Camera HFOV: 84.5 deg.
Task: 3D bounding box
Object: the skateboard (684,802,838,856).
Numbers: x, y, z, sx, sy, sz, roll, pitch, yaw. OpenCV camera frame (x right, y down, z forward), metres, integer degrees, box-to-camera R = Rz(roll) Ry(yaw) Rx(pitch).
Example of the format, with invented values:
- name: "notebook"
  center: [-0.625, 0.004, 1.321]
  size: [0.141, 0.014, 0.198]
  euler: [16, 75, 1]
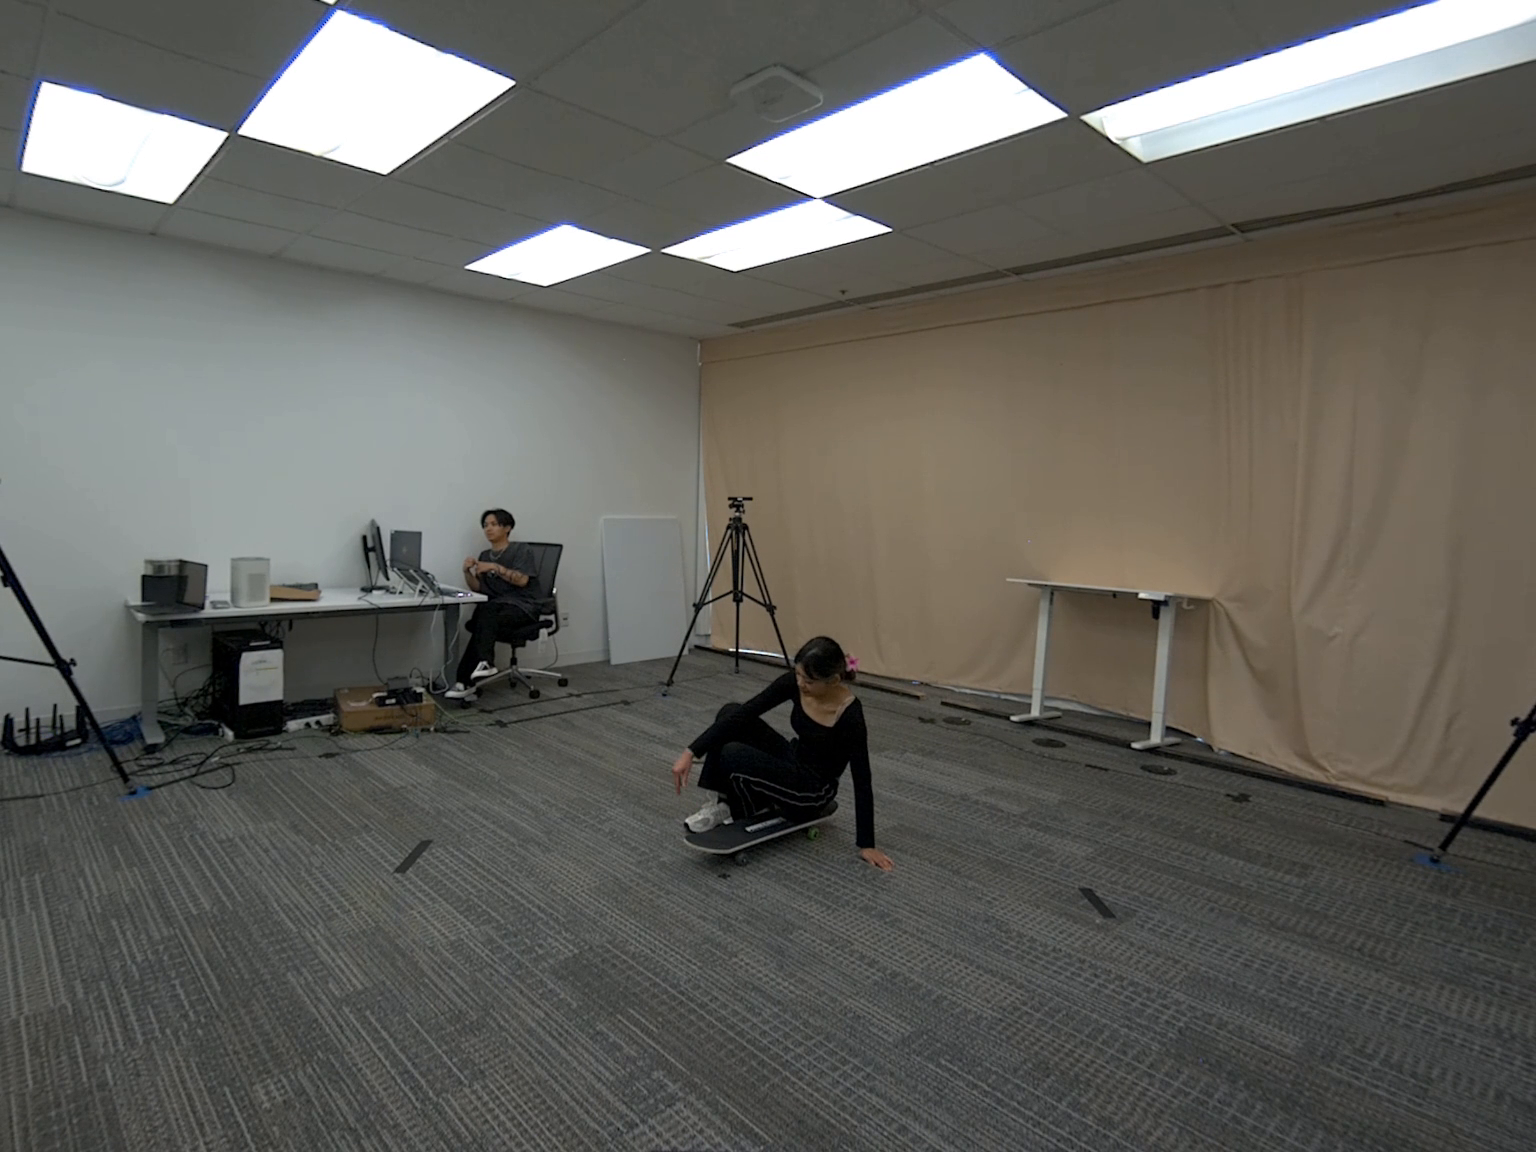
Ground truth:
- name: "skateboard"
  center: [-0.018, 1.033, 3.386]
  size: [0.767, 0.110, 0.199]
  euler: [-3, 8, -43]
